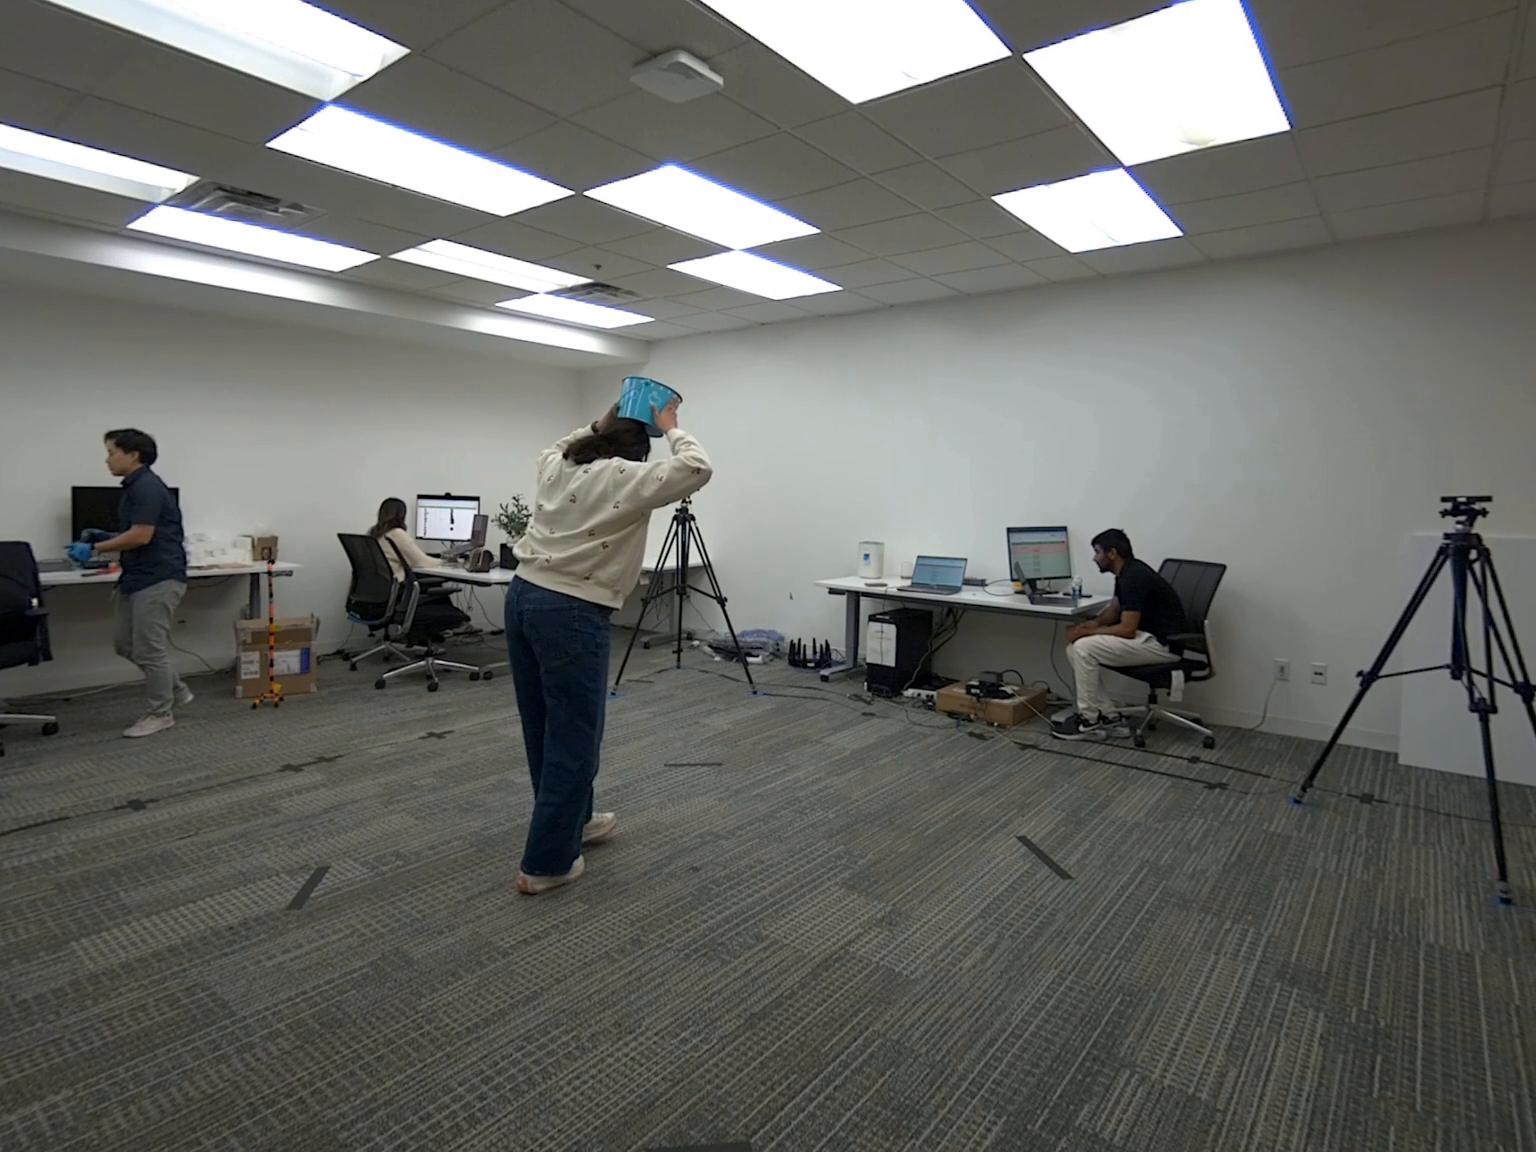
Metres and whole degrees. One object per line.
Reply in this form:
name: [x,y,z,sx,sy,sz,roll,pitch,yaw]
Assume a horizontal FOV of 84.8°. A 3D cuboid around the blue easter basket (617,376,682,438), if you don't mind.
blue easter basket: [-0.457,-0.618,3.150,0.244,0.157,0.242,18,-9,1]
